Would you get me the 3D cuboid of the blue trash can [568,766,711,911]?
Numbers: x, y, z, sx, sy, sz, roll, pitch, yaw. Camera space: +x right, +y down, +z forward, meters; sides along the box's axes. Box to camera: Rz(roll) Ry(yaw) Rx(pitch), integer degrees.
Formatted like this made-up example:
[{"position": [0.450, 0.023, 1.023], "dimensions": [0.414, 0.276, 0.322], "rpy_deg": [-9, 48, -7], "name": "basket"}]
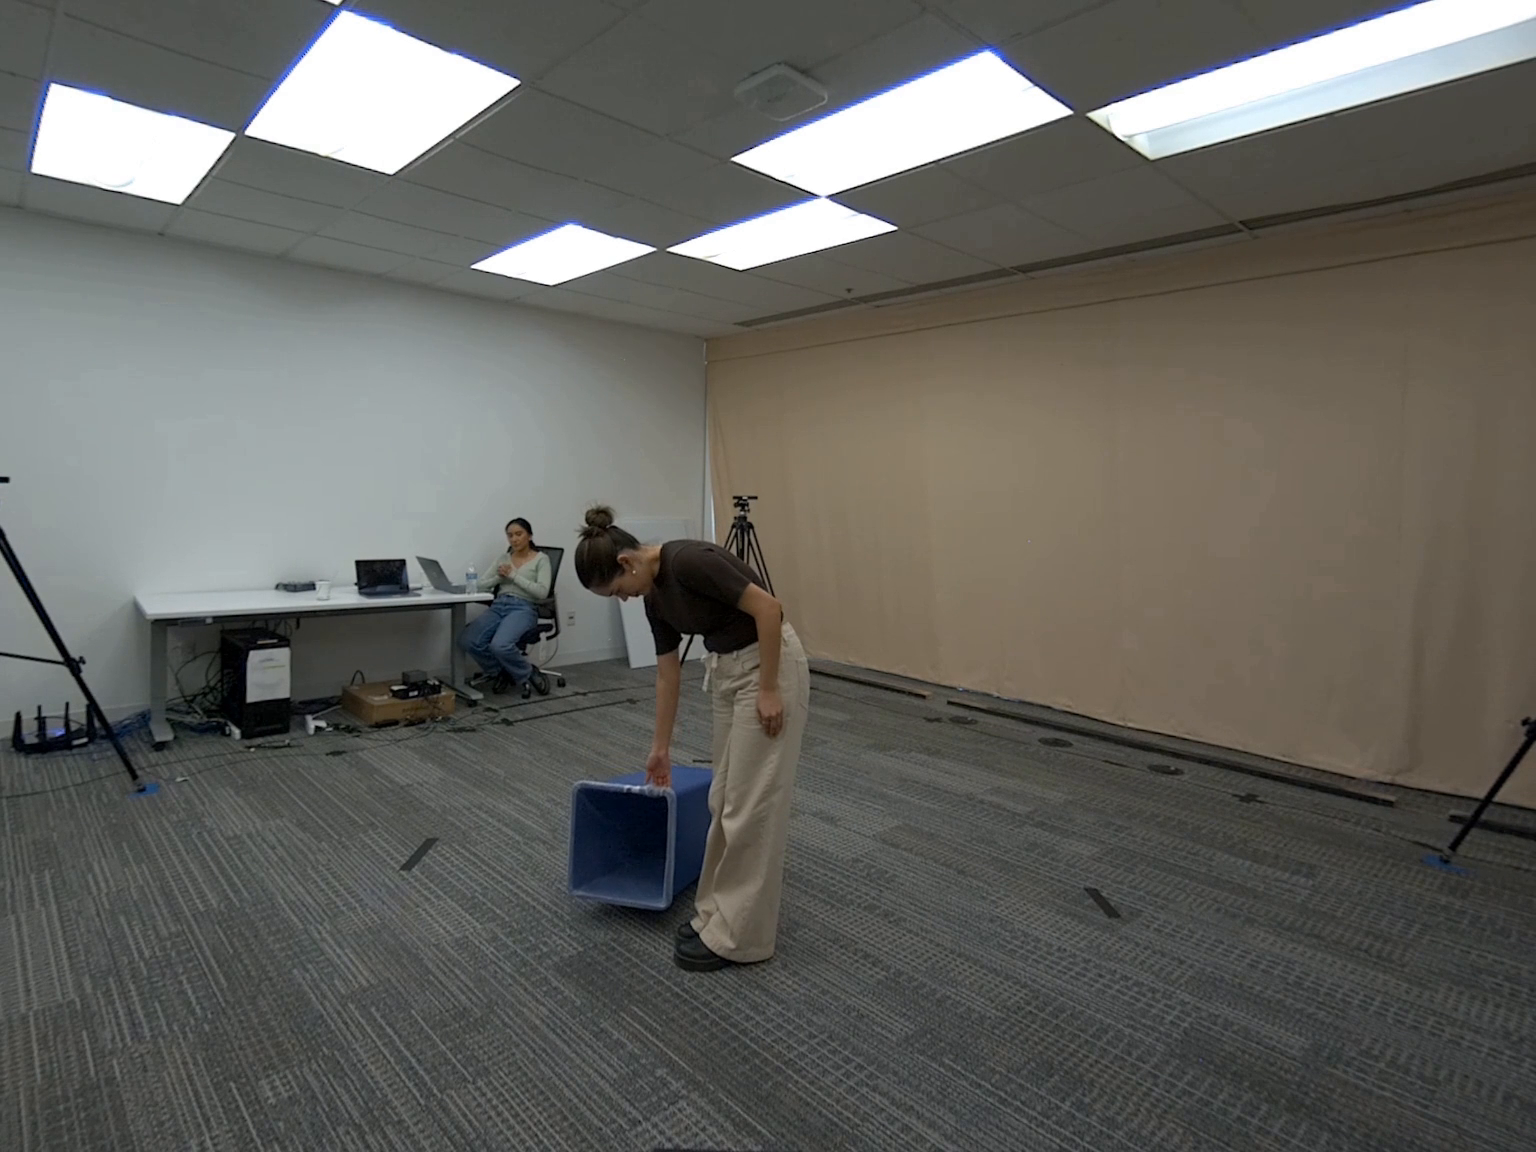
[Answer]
[{"position": [-0.376, 0.897, 3.031], "dimensions": [0.384, 0.375, 0.699], "rpy_deg": [0, -5, 20], "name": "blue trash can"}]
